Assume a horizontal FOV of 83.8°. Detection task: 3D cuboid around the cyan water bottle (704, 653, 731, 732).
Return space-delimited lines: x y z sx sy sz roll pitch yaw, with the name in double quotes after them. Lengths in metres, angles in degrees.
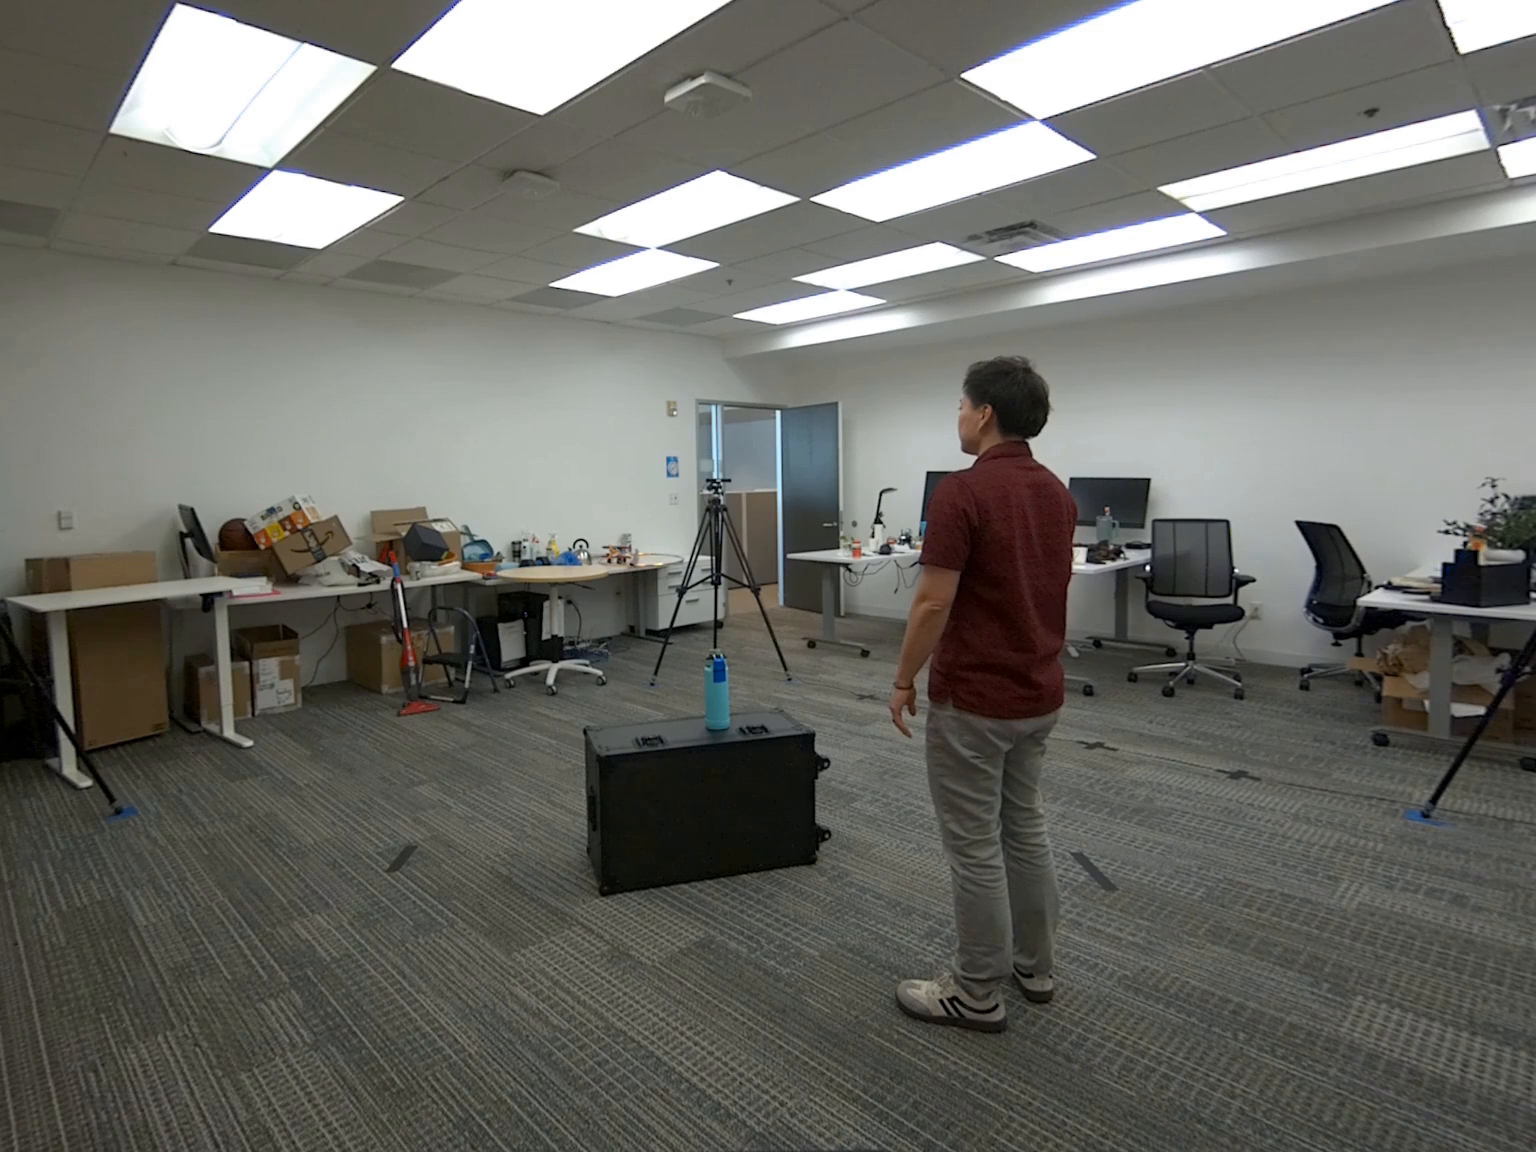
-0.186 0.415 3.158 0.092 0.282 0.093 0 5 -2 "cyan water bottle"
